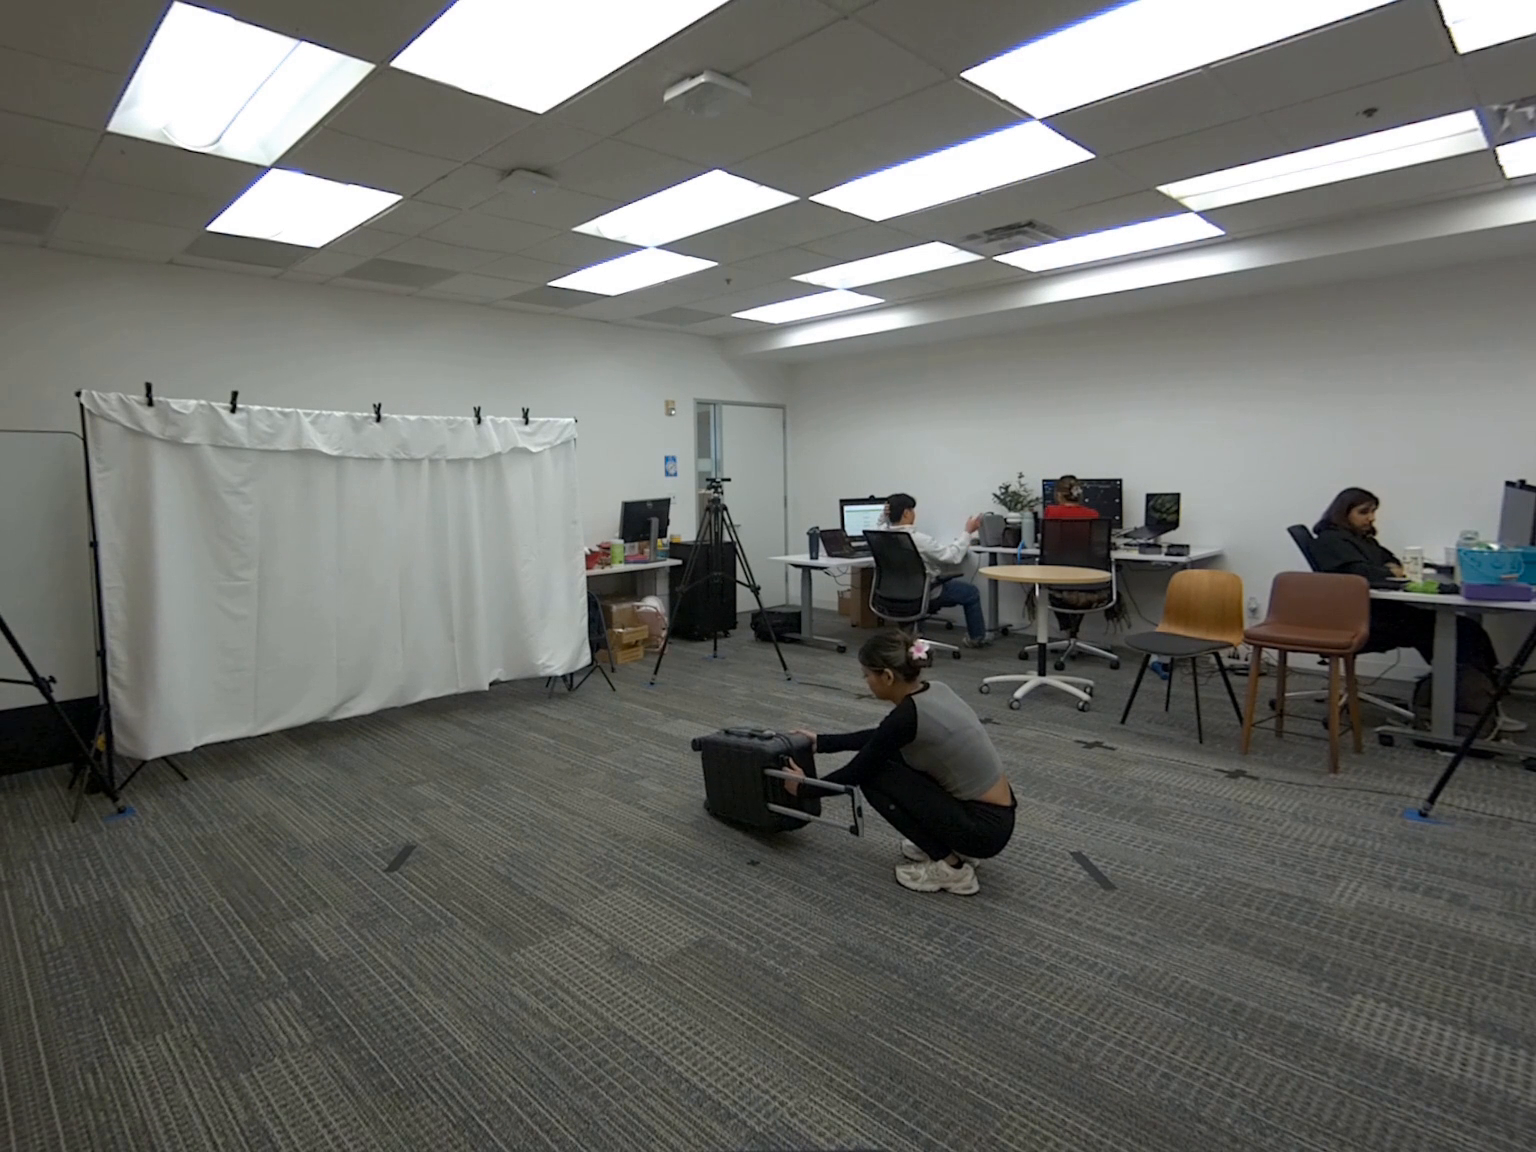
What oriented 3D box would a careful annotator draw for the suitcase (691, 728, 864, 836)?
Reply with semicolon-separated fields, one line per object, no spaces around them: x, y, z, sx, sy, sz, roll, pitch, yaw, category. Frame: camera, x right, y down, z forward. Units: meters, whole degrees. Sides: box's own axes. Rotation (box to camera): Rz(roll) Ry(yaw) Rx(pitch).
0.082;0.787;3.254;0.250;0.385;1.001;-4;-2;-36;suitcase
